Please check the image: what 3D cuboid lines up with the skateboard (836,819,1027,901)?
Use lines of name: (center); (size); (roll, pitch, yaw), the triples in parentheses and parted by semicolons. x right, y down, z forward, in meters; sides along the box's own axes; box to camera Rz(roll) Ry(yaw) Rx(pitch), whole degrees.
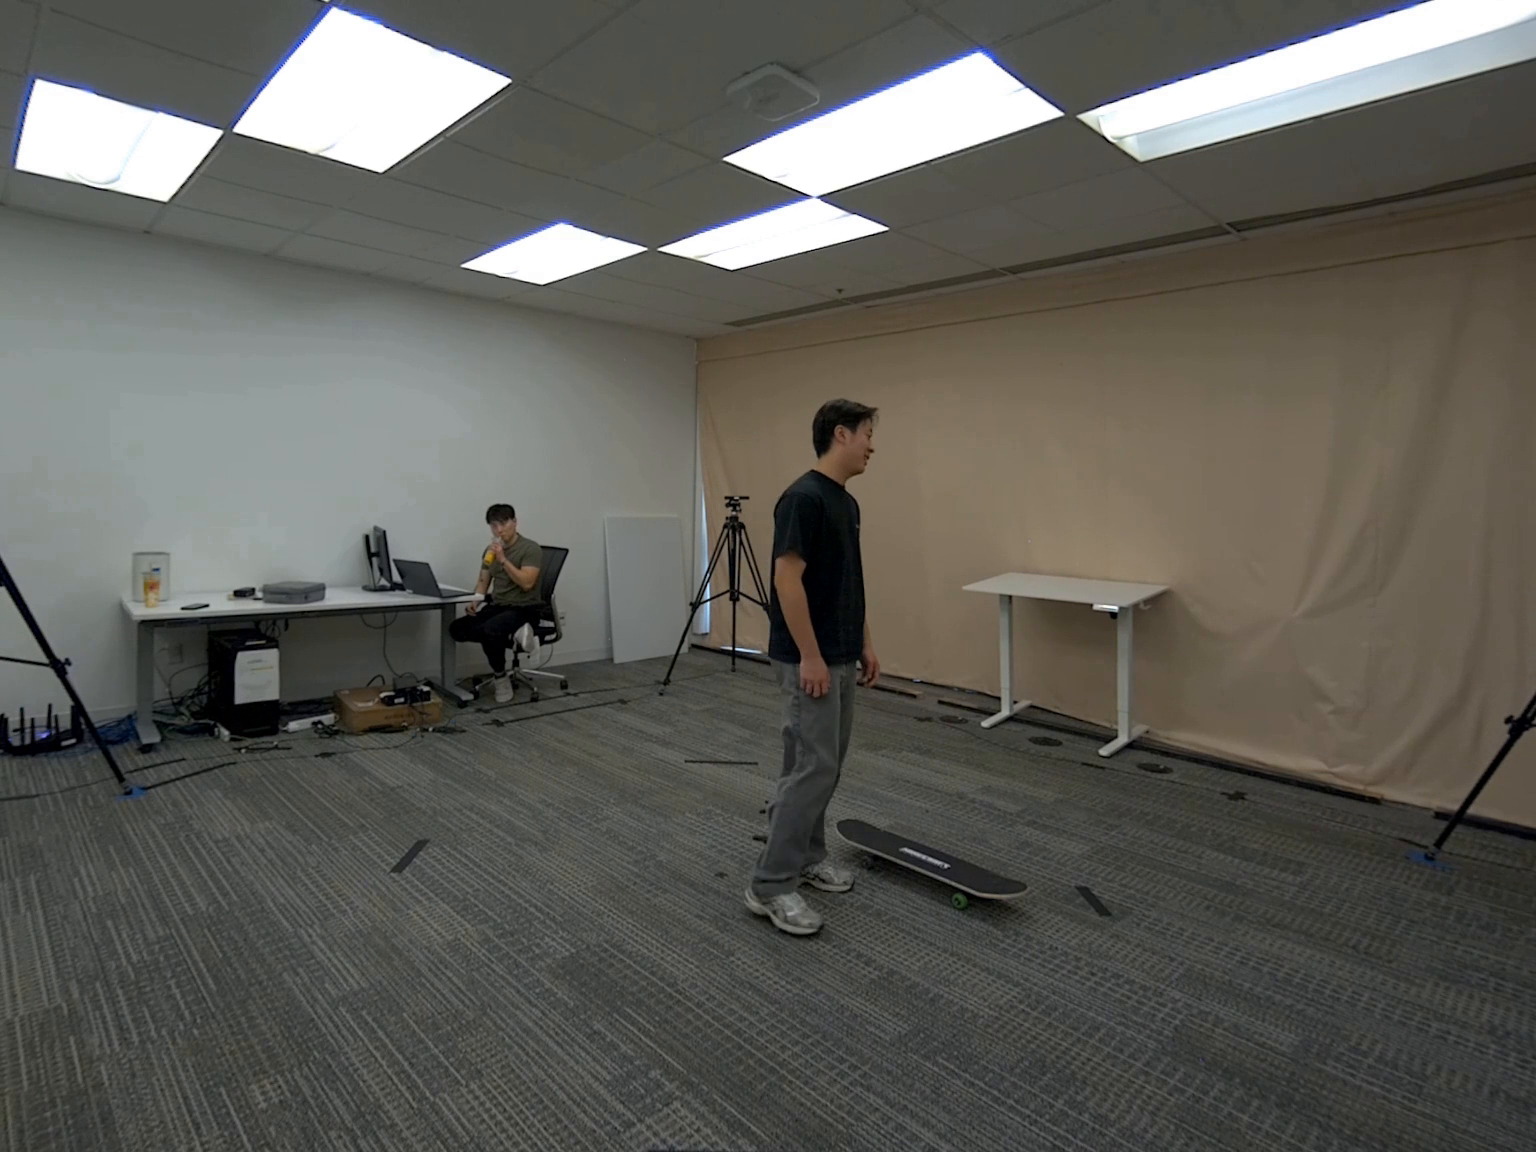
skateboard: (0.566, 1.069, 3.092); (0.189, 0.110, 0.806); (-2, 7, -44)
